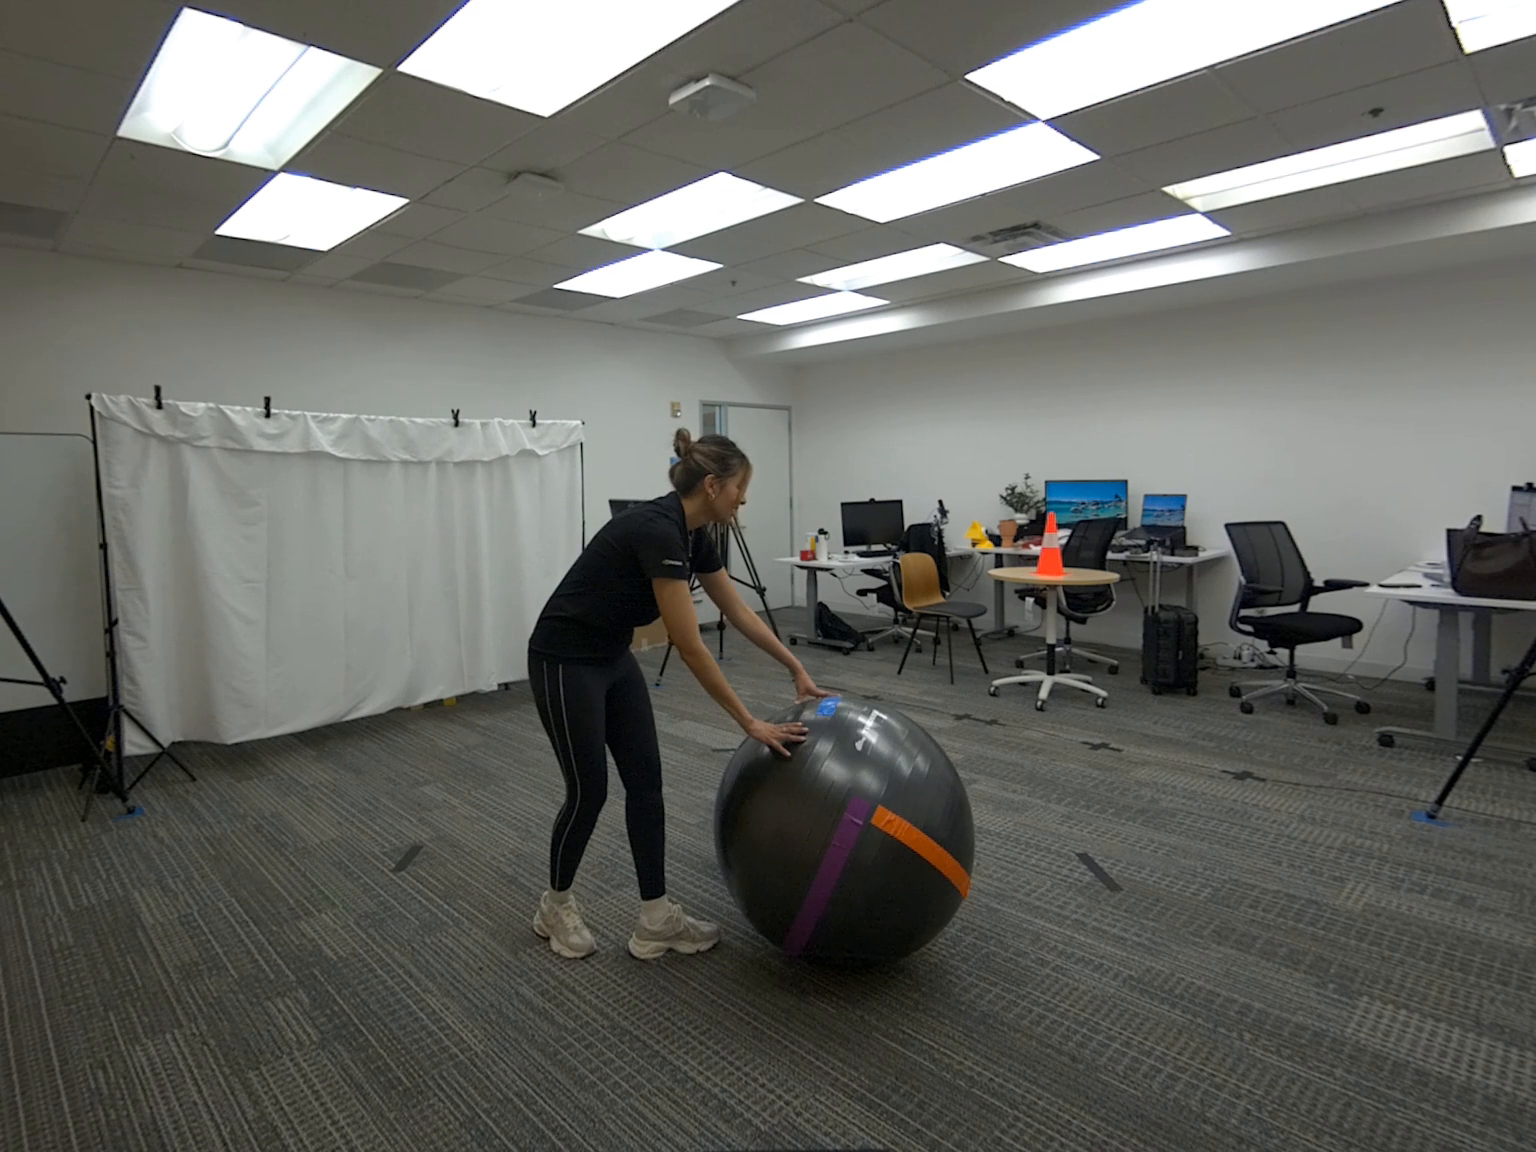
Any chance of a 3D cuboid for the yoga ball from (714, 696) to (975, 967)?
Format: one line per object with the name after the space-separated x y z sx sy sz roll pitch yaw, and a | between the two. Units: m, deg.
0.219 0.742 2.515 0.757 0.755 0.762 -1 5 -2 | yoga ball
